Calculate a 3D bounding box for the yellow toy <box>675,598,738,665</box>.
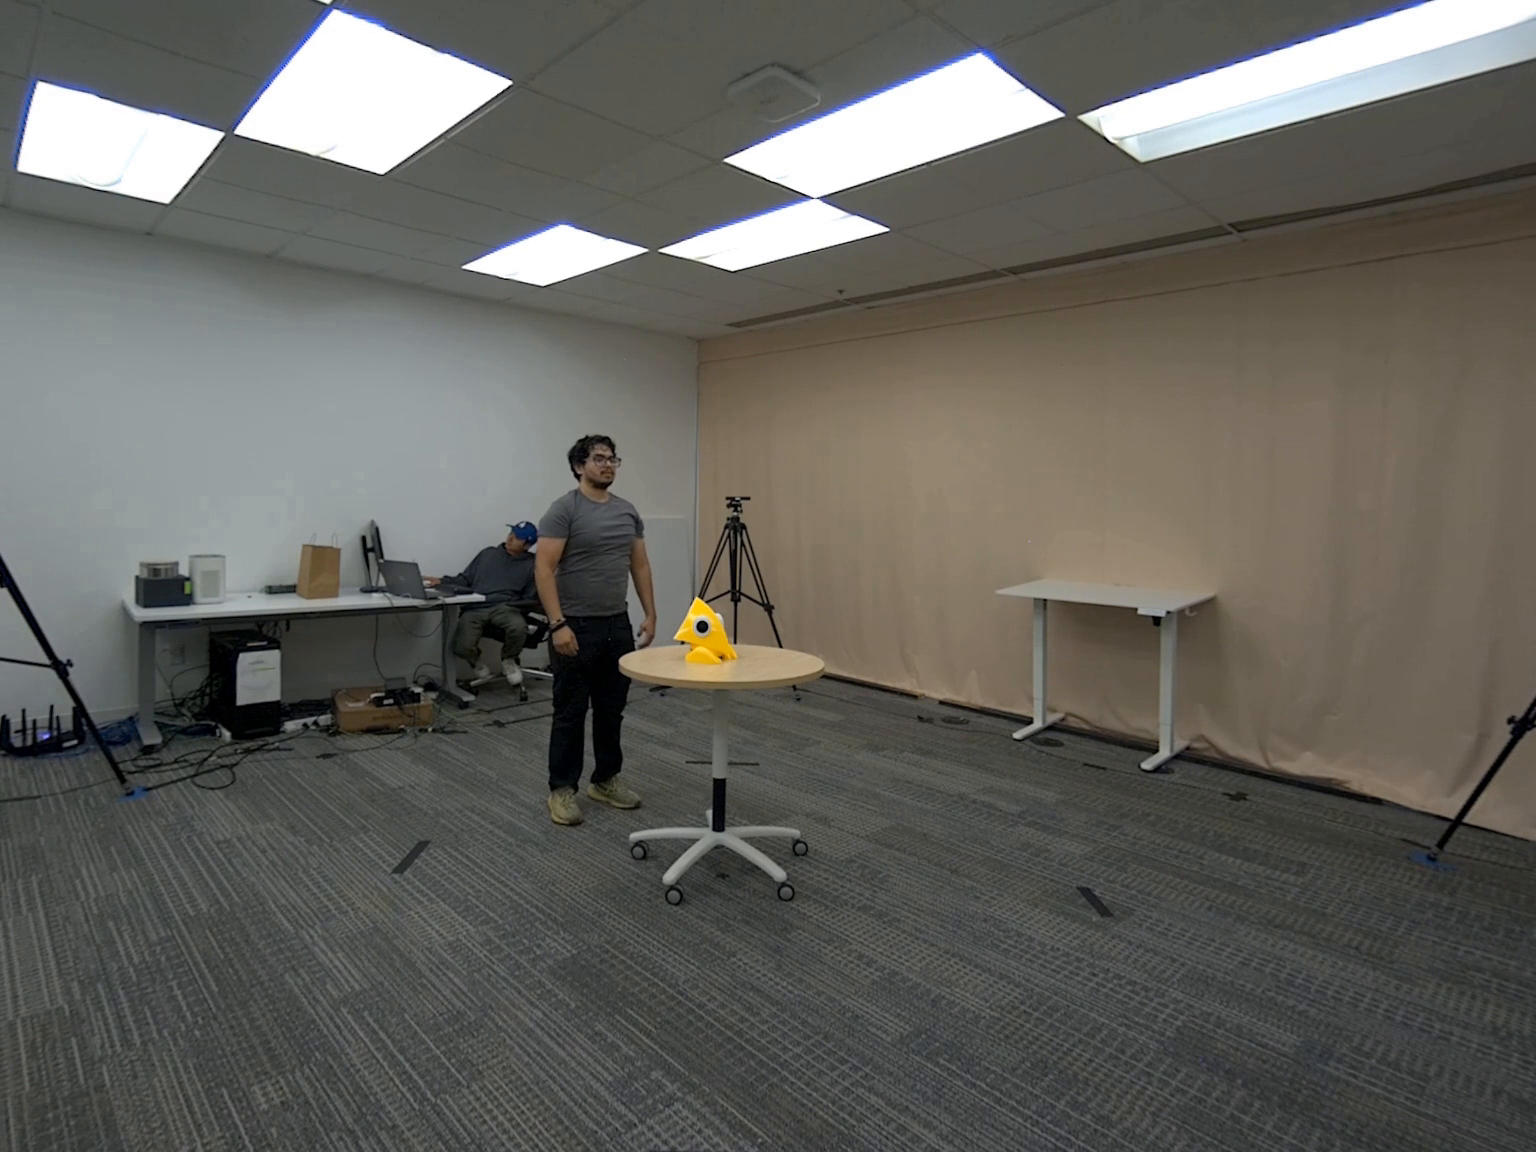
[{"bbox_3d":[-0.230,0.199,3.179,0.197,0.230,0.201,3,4,30],"label":"yellow toy"}]
